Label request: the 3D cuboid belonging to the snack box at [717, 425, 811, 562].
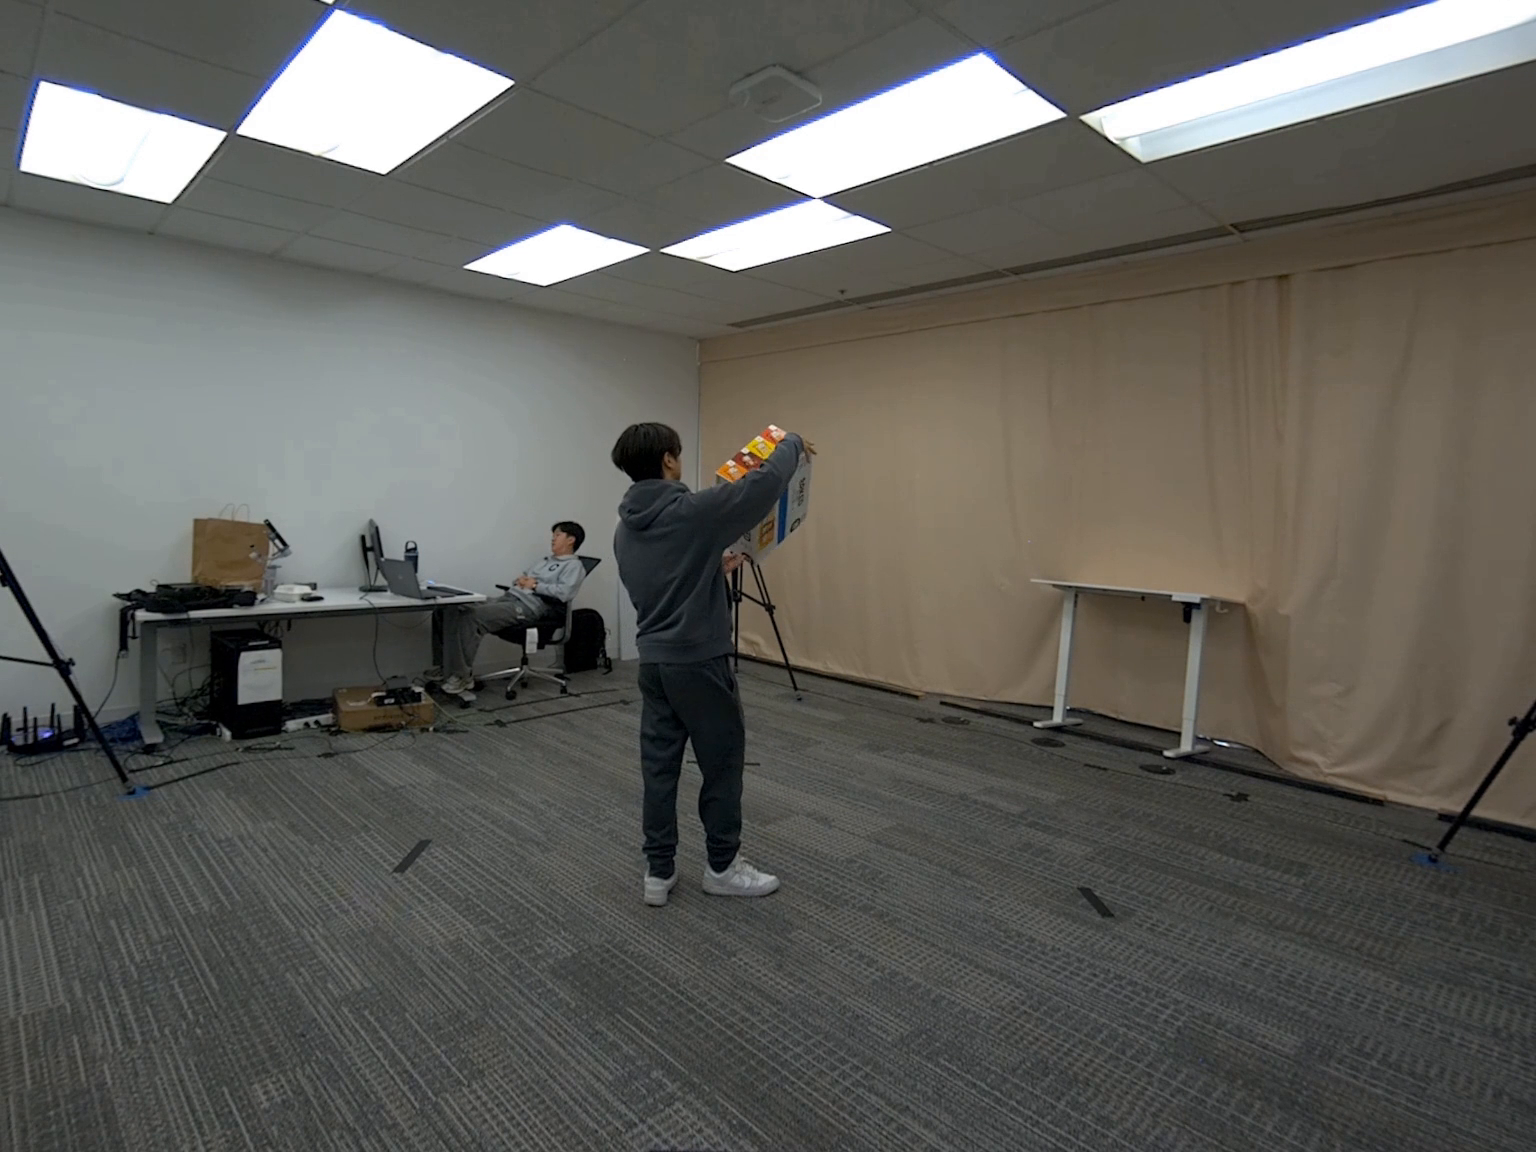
[{"bbox_3d":[-0.021,-0.311,3.281,0.210,0.397,0.339,33,58,22],"label":"snack box"}]
